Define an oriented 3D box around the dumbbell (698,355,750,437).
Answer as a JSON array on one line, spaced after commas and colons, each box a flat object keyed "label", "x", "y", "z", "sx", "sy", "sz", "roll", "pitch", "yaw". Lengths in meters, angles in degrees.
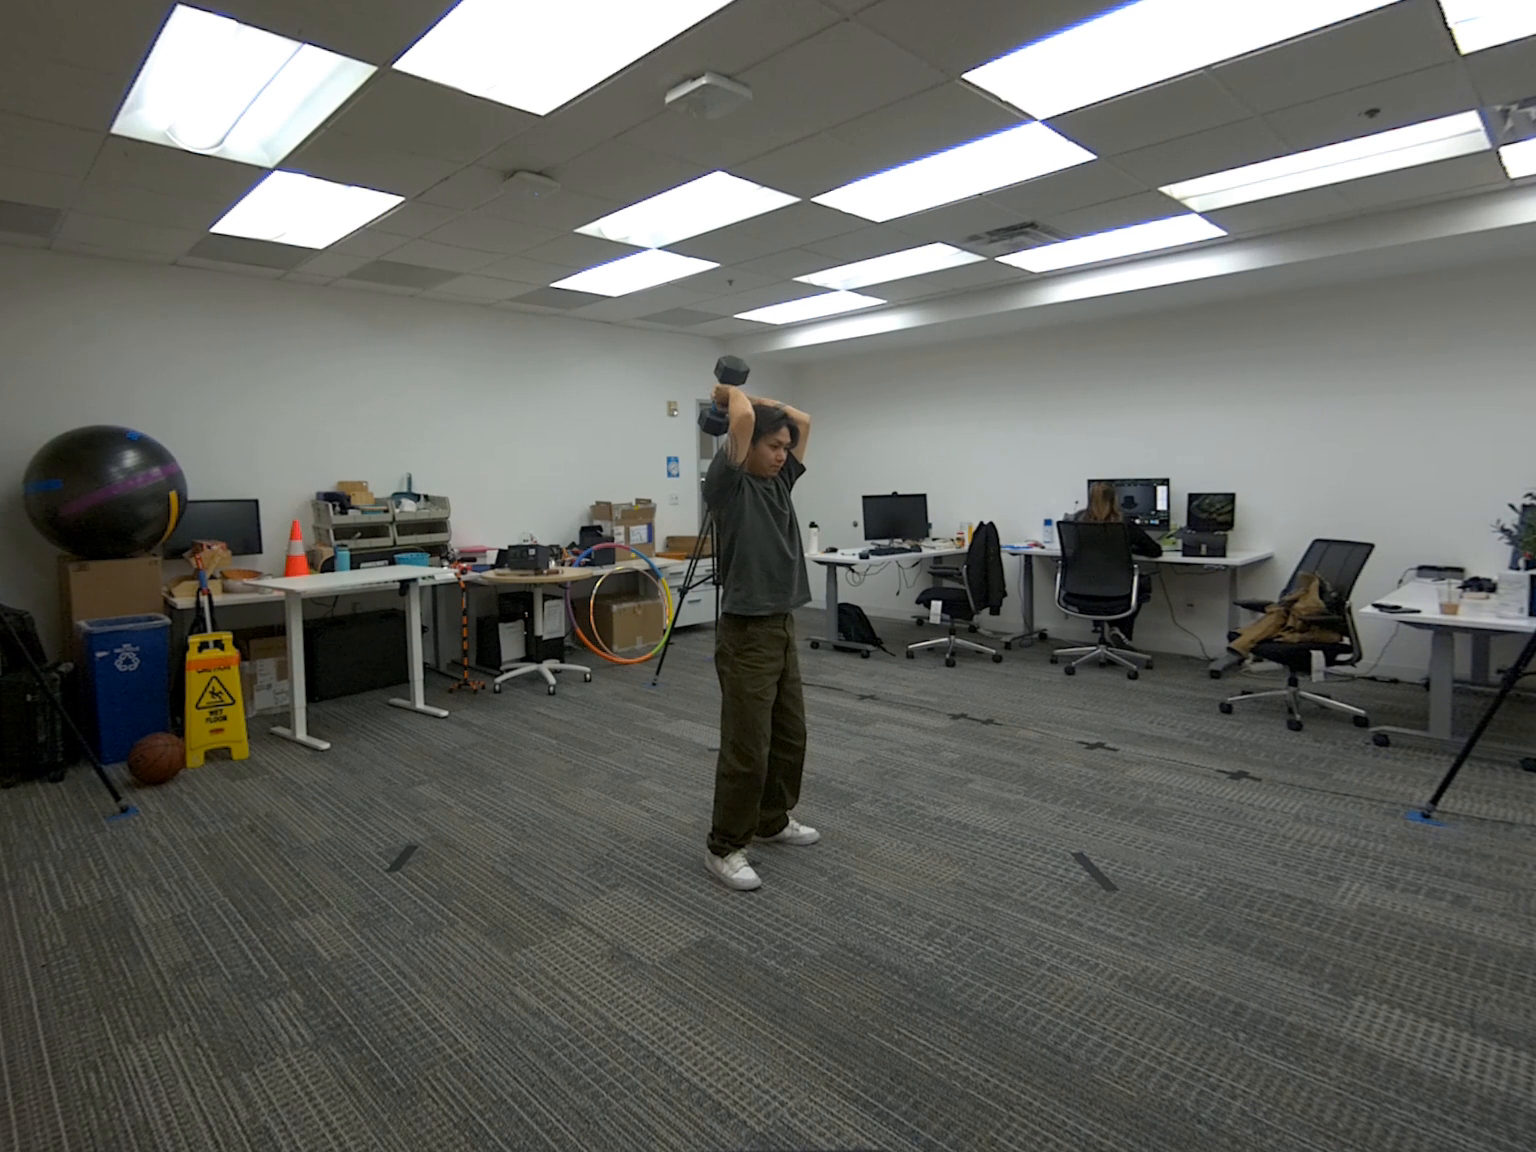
[{"label": "dumbbell", "x": -0.157, "y": -0.669, "z": 3.166, "sx": 0.106, "sy": 0.290, "sz": 0.127, "roll": 4, "pitch": 39, "yaw": -27}]
